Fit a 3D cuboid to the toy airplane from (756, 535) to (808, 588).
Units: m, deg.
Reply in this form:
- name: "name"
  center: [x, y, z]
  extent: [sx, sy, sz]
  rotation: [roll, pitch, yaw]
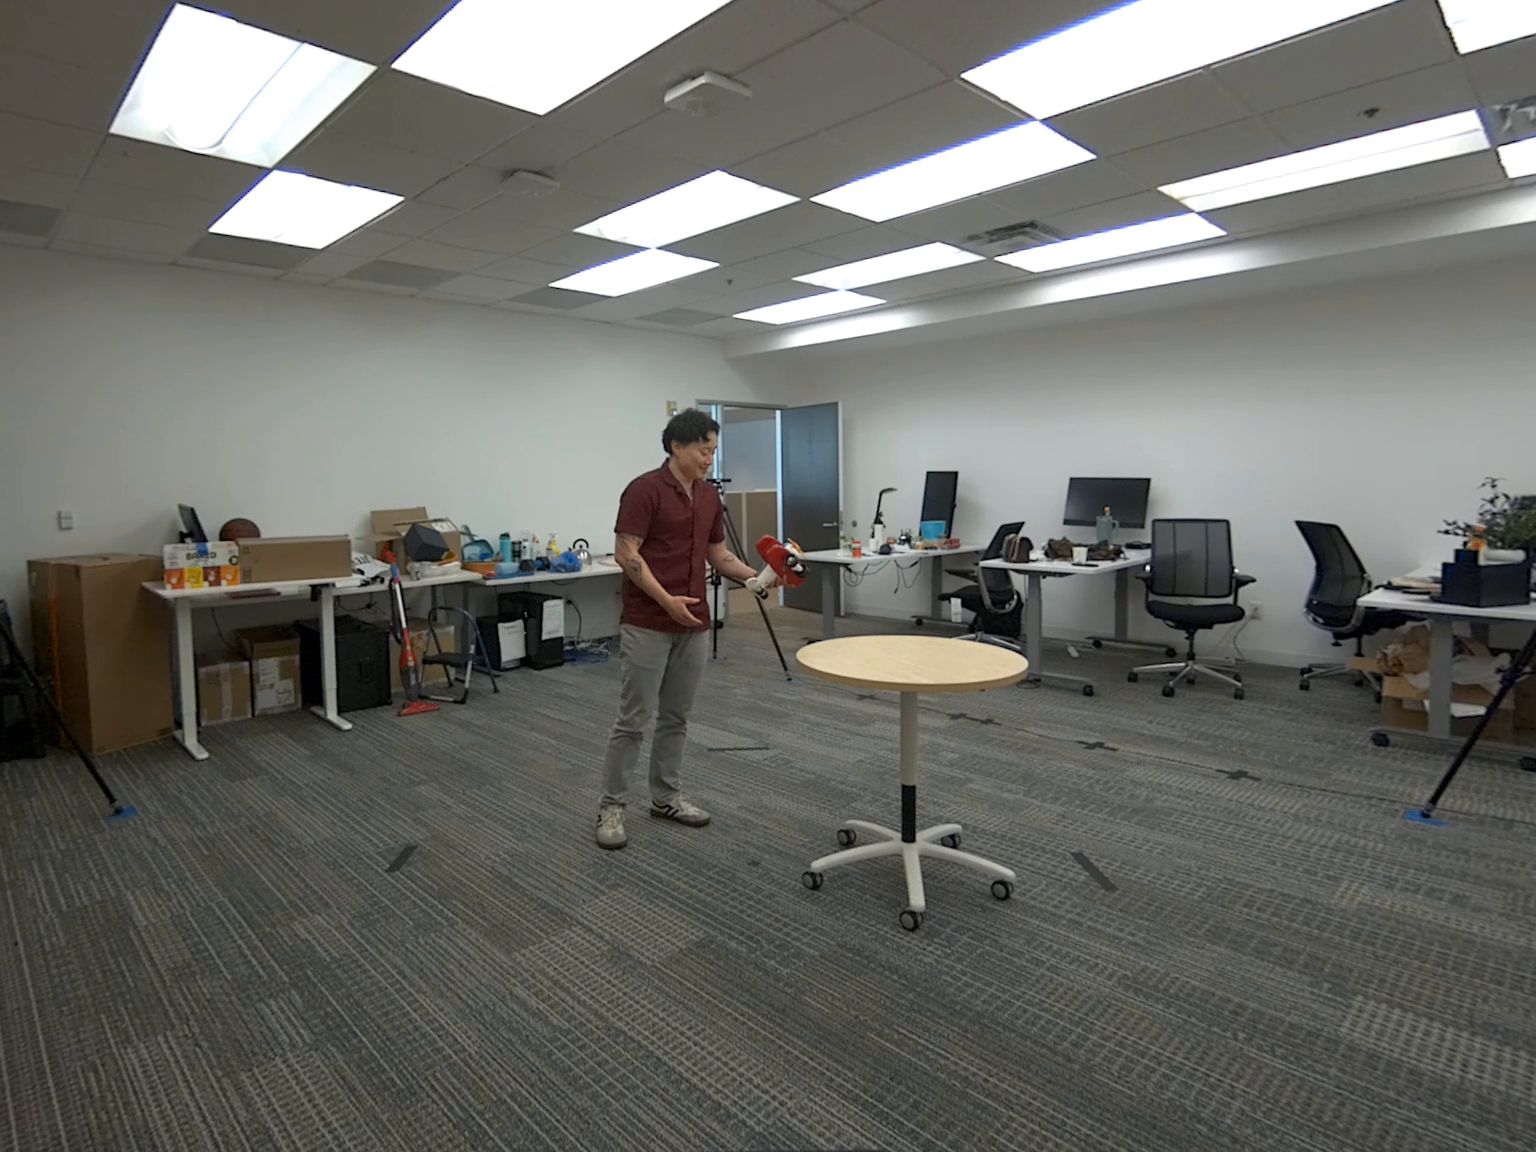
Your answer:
- name: "toy airplane"
  center: [0.016, -0.035, 3.393]
  extent: [0.258, 0.243, 0.162]
  rotation: [-15, 42, -7]
